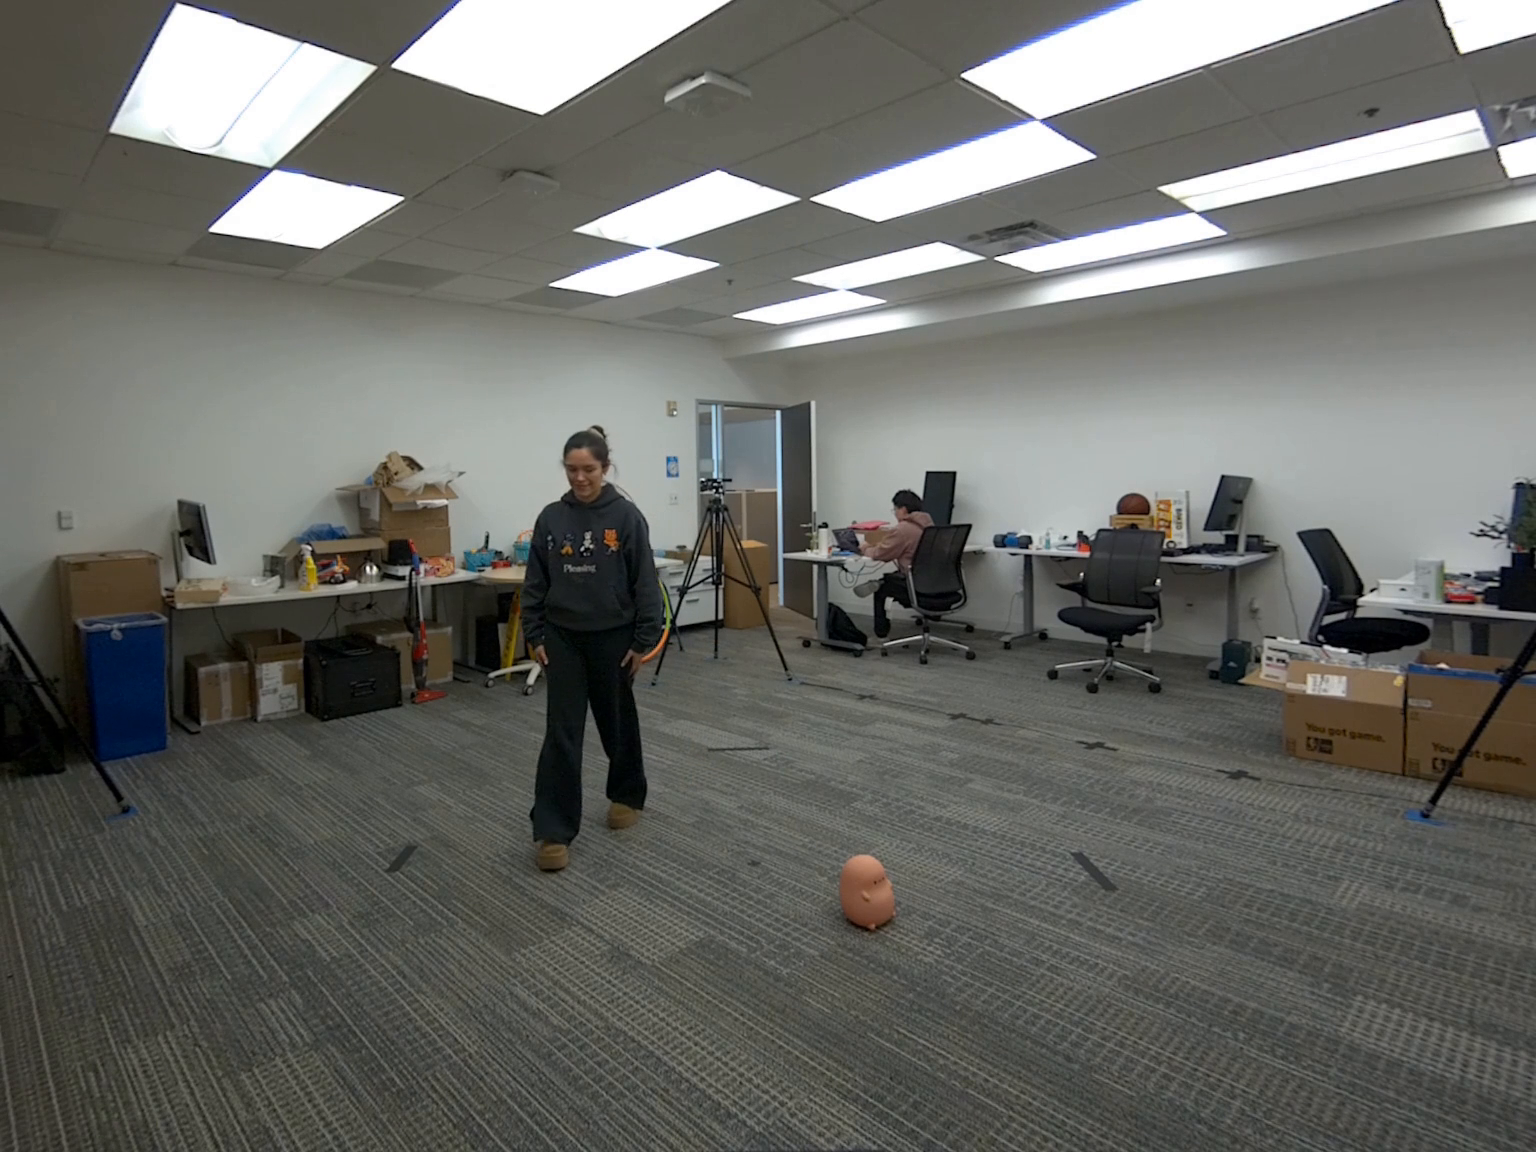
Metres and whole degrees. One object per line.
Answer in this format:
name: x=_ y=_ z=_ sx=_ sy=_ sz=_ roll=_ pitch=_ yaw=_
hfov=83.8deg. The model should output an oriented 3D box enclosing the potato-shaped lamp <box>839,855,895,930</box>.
potato-shaped lamp: x=0.314 y=0.989 z=2.686 sx=0.160 sy=0.198 sz=0.176 roll=-4 pitch=3 yaw=-37
